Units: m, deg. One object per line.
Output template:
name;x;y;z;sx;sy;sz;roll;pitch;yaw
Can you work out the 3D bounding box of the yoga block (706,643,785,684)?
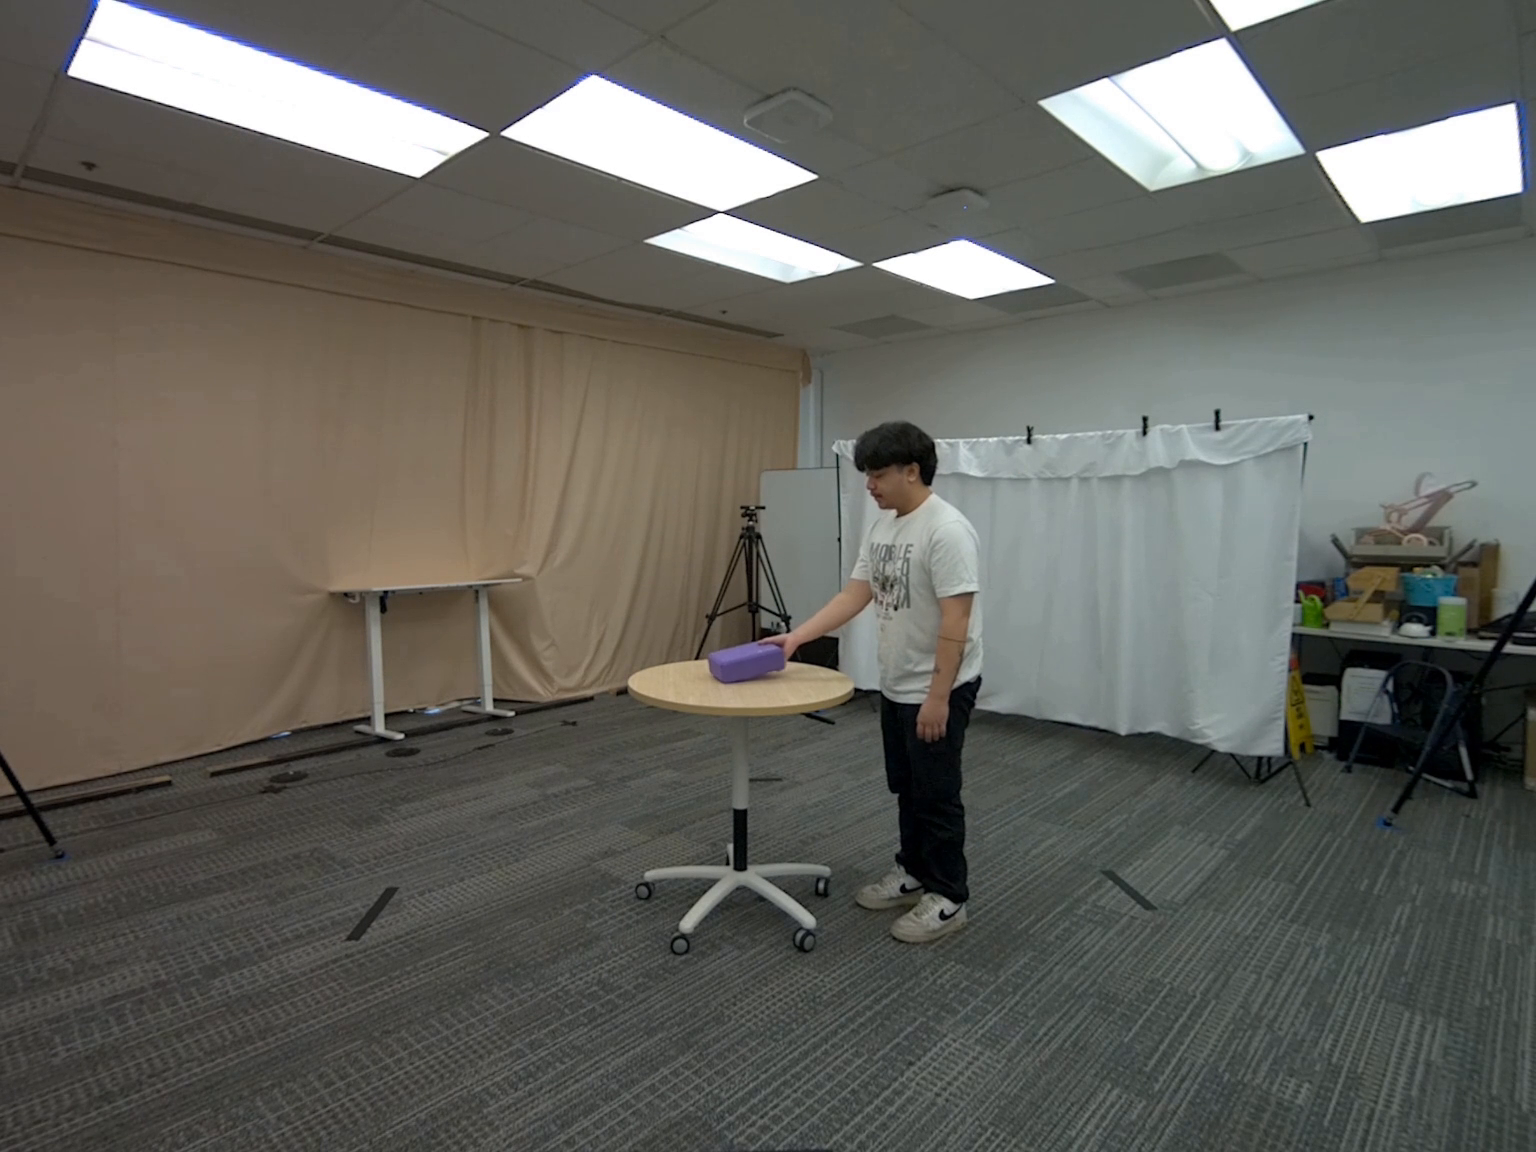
yoga block;-0.074;0.290;2.897;0.226;0.076;0.152;-9;11;-14
